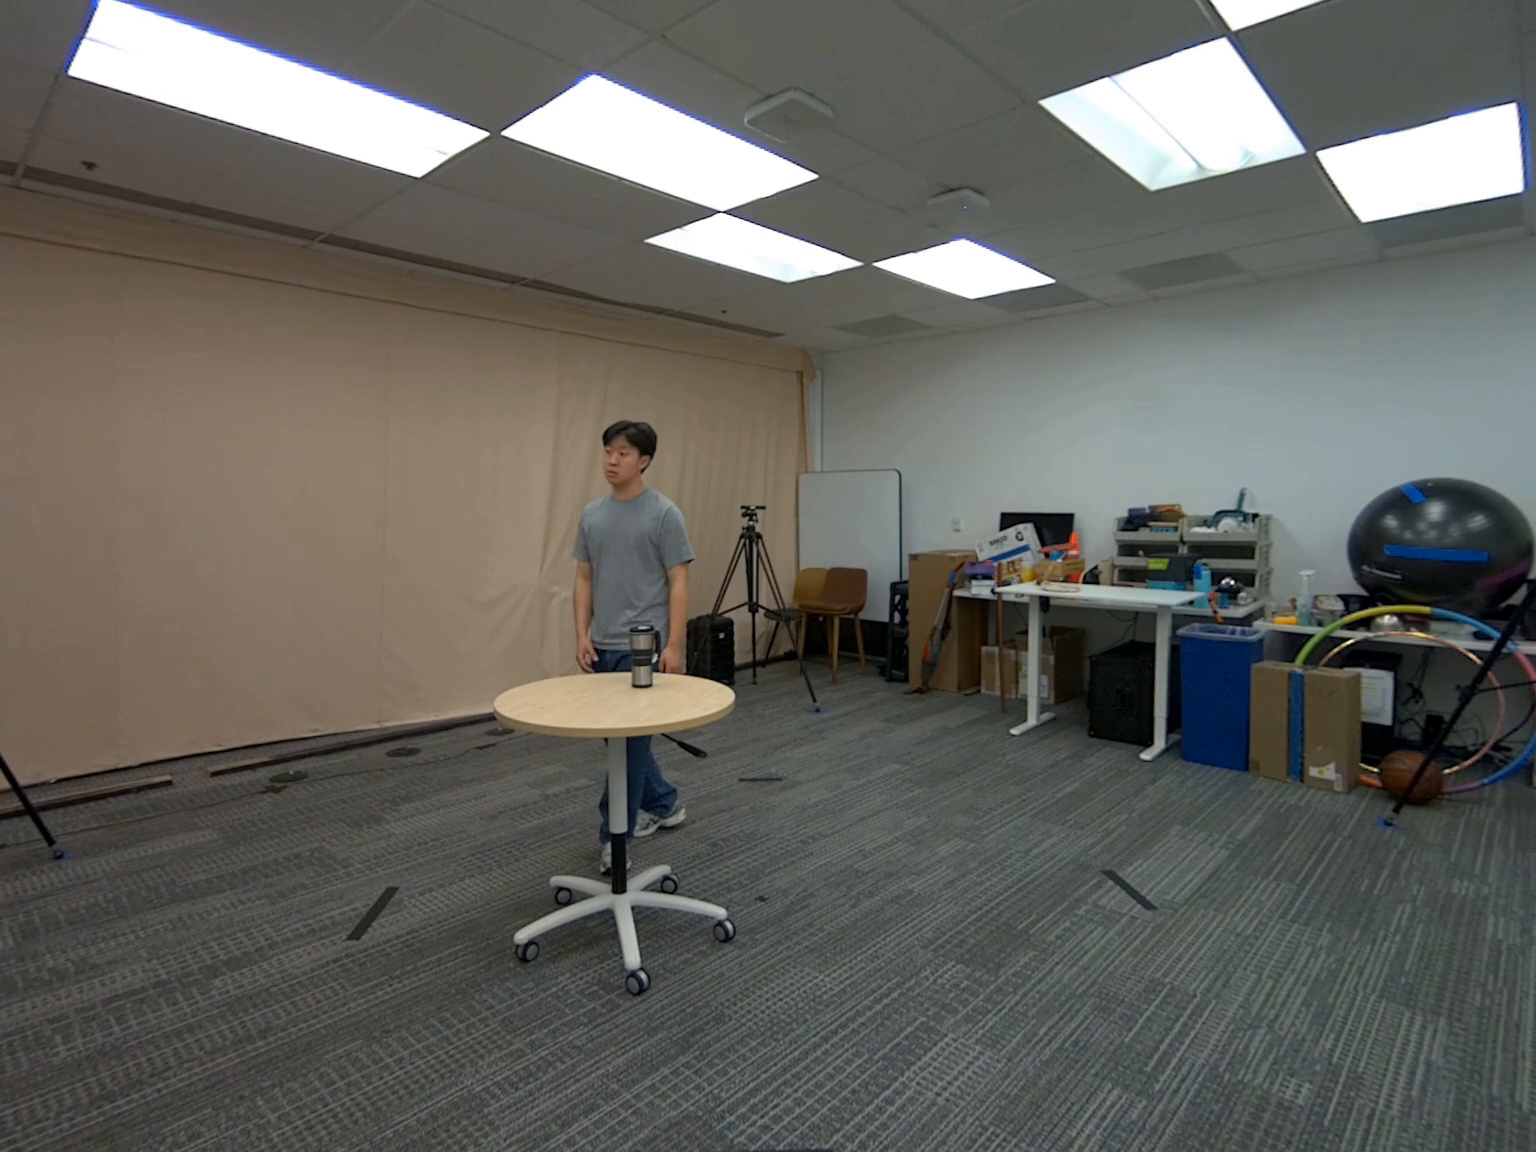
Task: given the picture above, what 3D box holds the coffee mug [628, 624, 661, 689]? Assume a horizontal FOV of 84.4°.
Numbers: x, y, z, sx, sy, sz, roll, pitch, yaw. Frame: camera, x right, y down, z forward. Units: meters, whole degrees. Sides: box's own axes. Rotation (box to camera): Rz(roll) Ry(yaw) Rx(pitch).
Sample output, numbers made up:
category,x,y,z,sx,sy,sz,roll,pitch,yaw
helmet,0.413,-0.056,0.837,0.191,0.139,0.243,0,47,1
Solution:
category,x,y,z,sx,sy,sz,roll,pitch,yaw
coffee mug,-0.407,0.273,2.859,0.119,0.203,0.090,-6,2,-22
